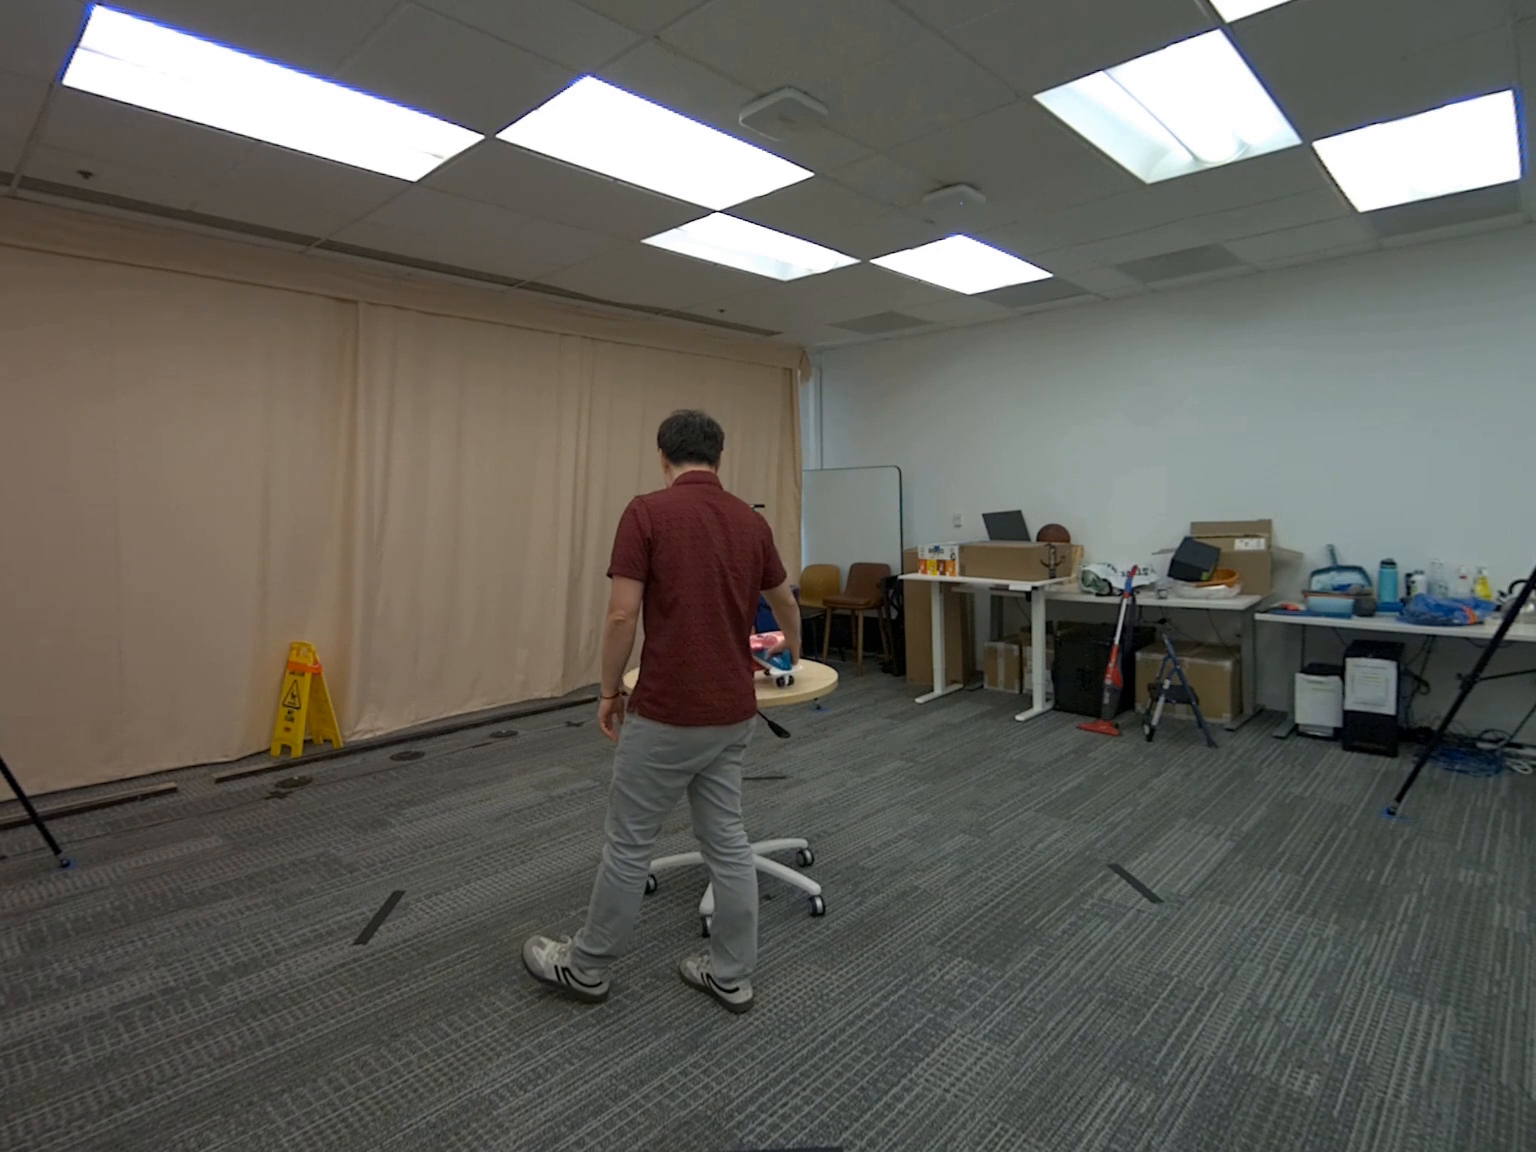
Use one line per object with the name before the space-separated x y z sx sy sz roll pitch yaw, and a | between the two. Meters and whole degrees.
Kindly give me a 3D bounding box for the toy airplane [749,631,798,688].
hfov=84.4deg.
toy airplane | 0.019 0.280 2.872 0.267 0.156 0.244 -2 7 35
